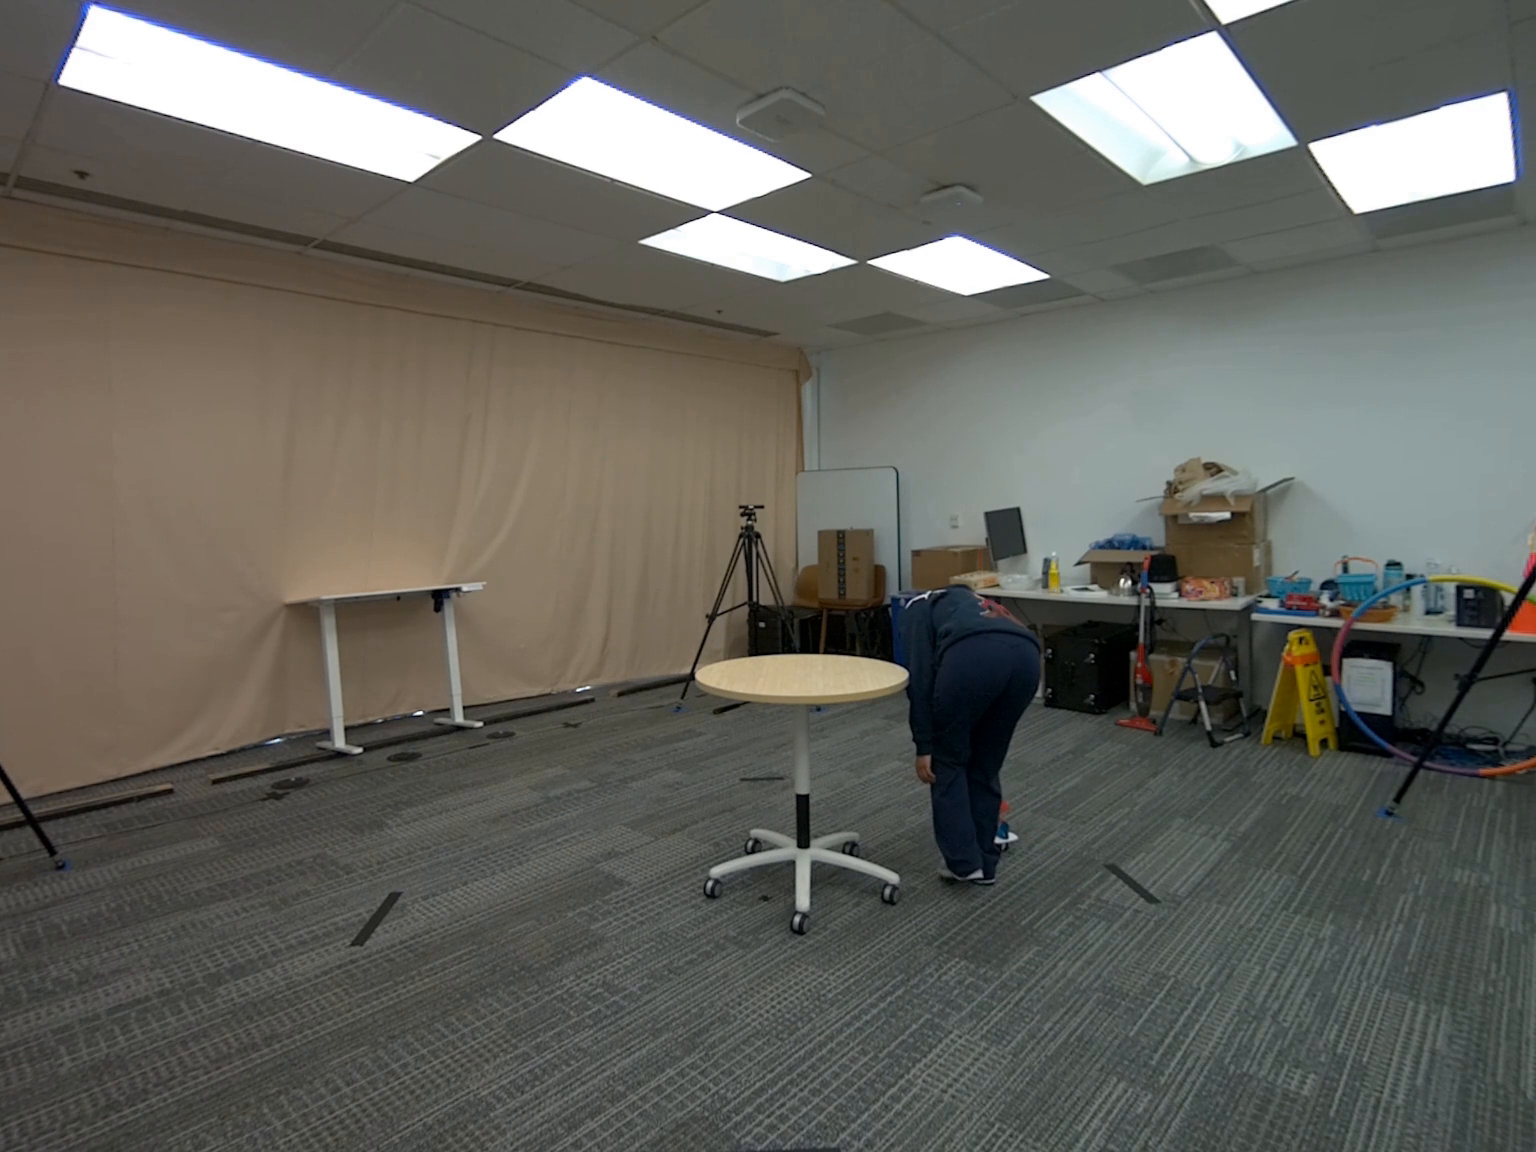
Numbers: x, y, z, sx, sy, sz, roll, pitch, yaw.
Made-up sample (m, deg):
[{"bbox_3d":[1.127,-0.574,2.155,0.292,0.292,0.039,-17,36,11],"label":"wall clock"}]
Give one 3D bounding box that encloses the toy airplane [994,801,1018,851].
[{"bbox_3d":[0.915,1.019,3.436,0.267,0.156,0.244,2,4,37],"label":"toy airplane"}]
